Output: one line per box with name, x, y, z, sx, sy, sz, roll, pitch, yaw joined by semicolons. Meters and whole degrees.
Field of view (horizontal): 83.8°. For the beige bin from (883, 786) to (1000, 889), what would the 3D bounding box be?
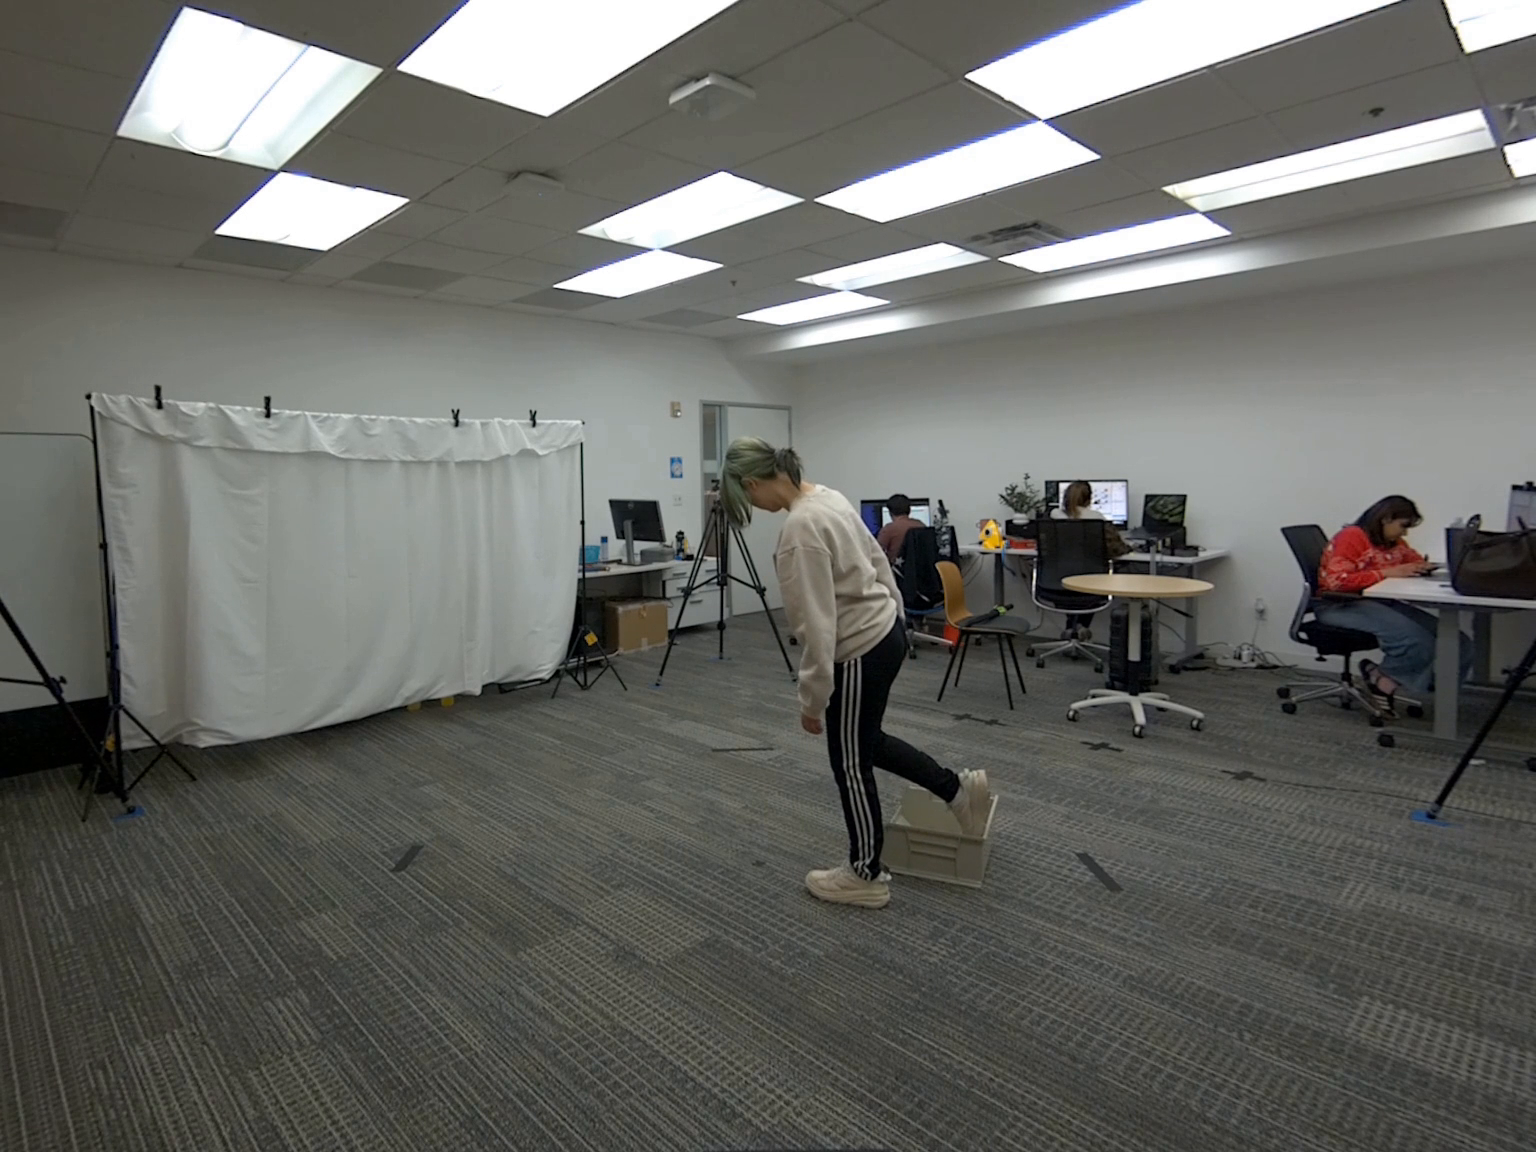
beige bin;0.636;0.941;3.144;0.385;0.188;0.415;3;7;22
